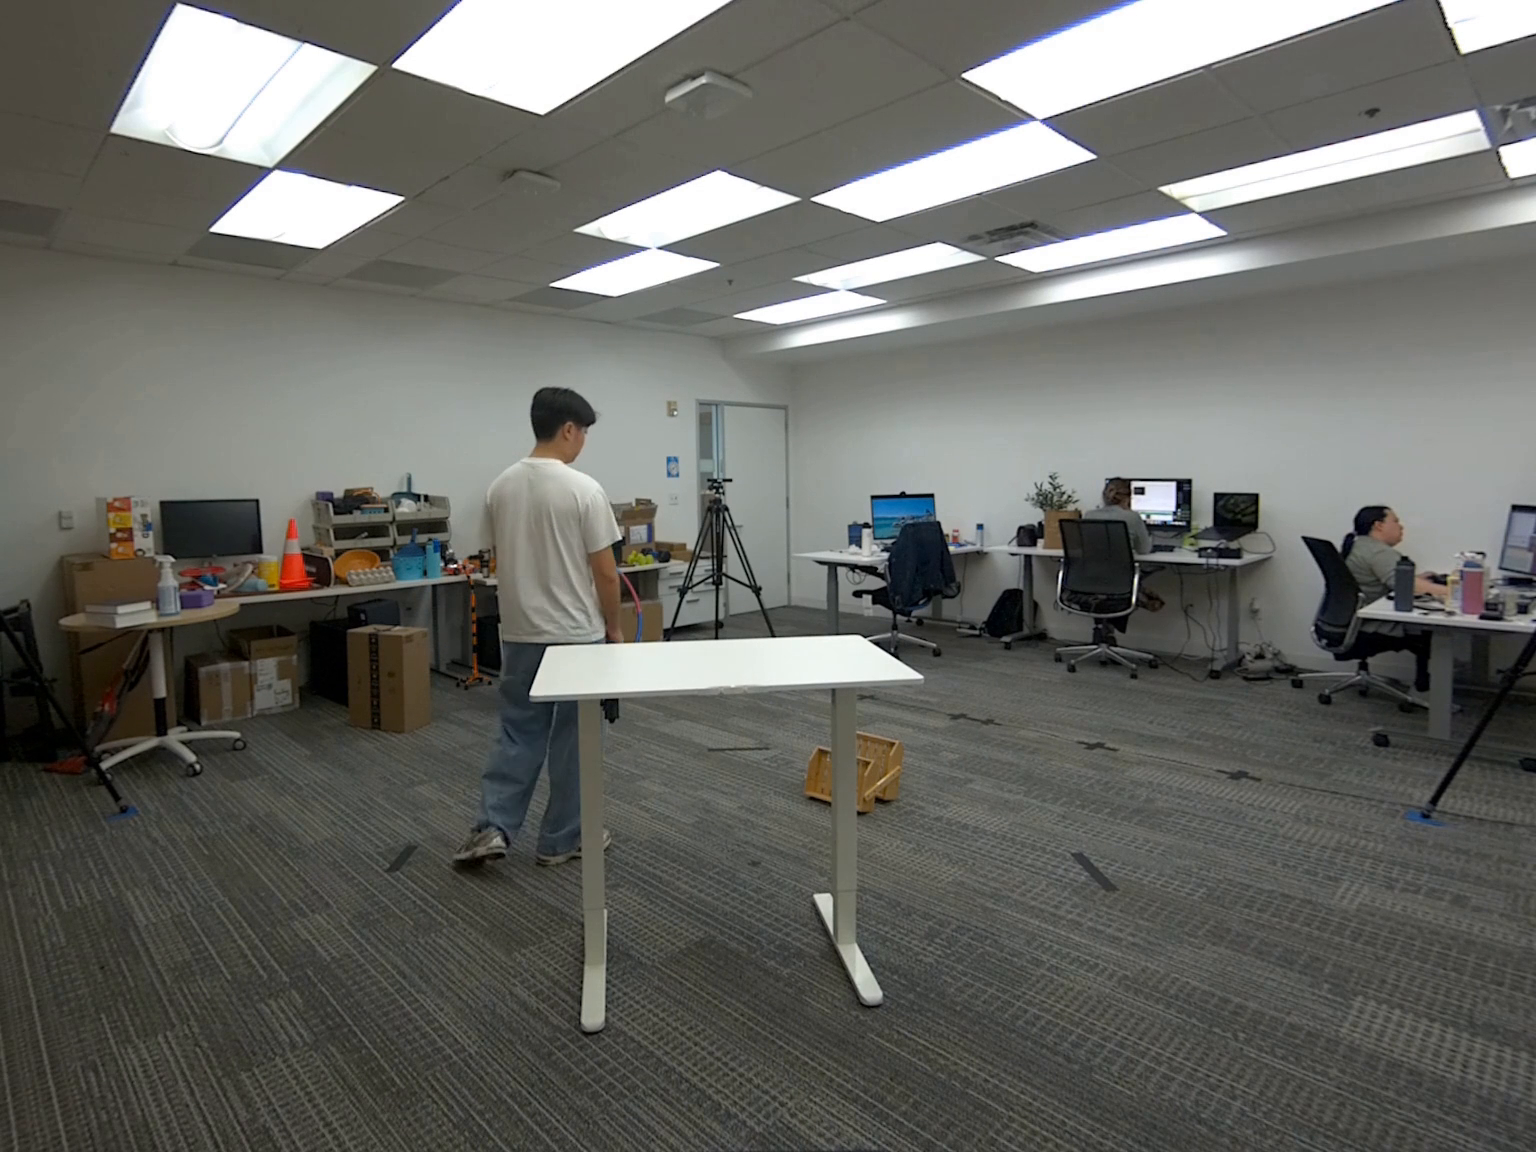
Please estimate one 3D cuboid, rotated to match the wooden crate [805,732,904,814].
[{"bbox_3d":[0.374,0.832,3.720,0.334,0.304,0.263,4,-10,43],"label":"wooden crate"}]
